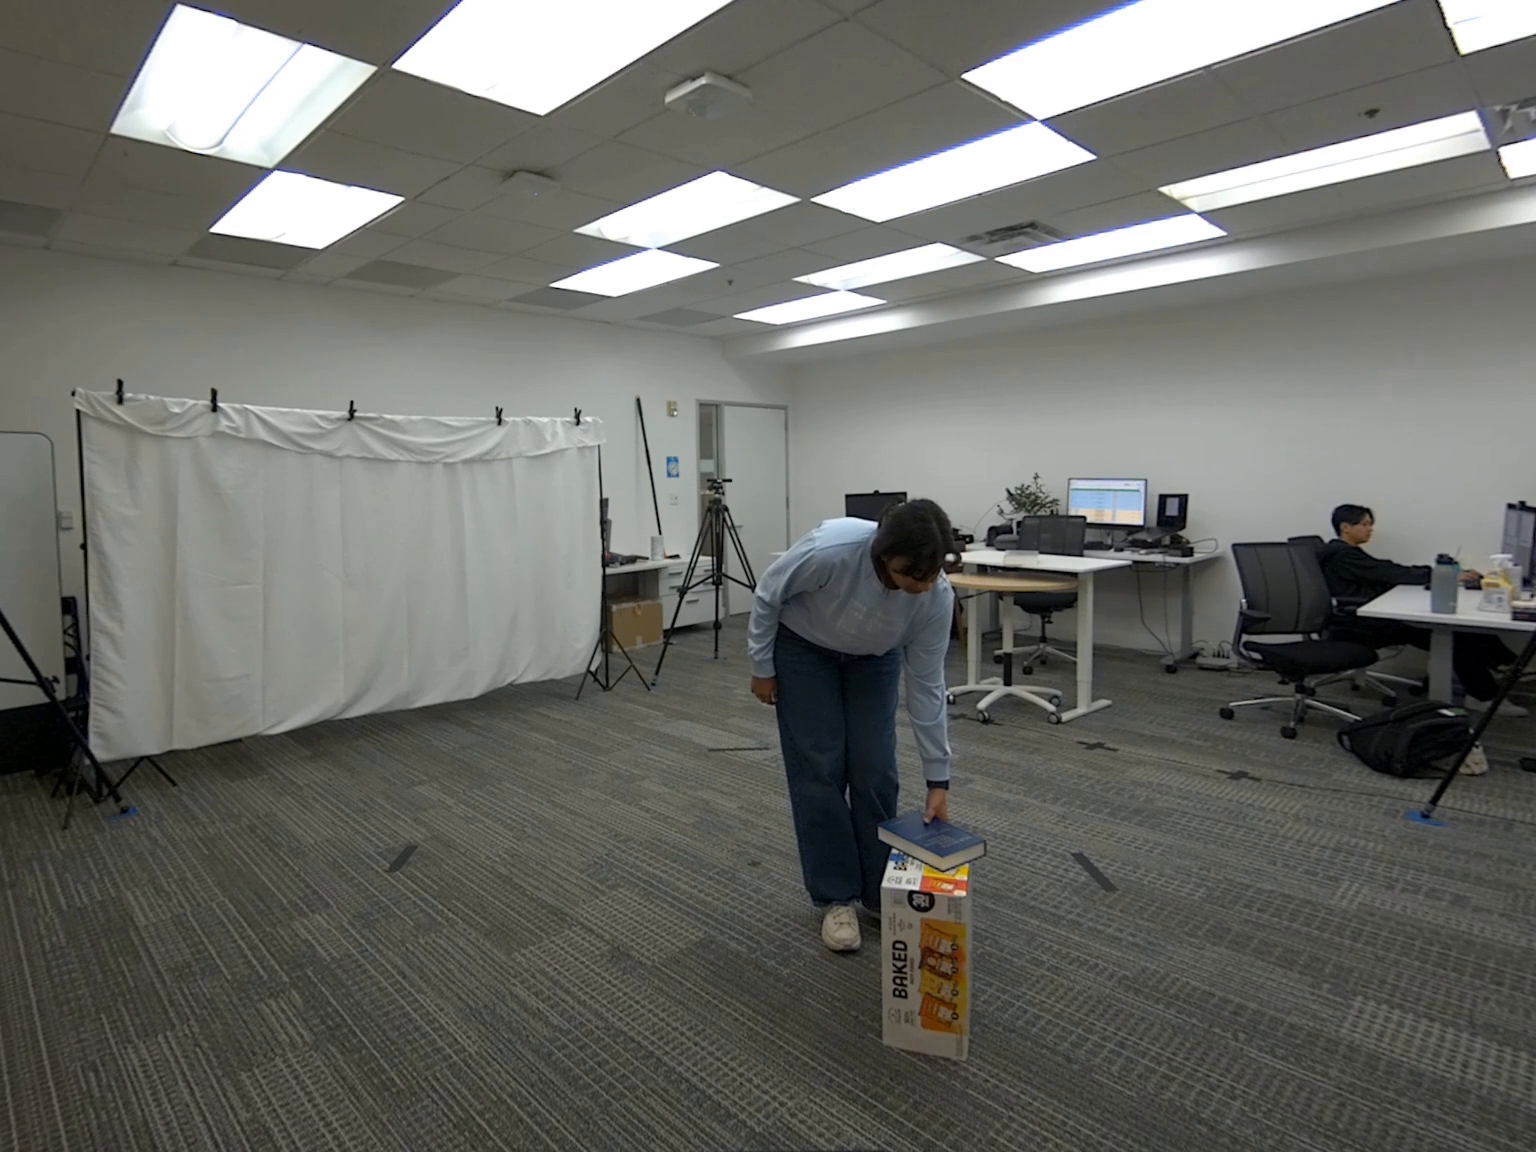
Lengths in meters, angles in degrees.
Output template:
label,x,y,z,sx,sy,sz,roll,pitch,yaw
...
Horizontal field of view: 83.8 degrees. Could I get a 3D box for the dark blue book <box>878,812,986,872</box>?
label,x,y,z,sx,sy,sz,roll,pitch,yaw
dark blue book,0.435,0.709,2.284,0.159,0.045,0.252,-8,10,-33
